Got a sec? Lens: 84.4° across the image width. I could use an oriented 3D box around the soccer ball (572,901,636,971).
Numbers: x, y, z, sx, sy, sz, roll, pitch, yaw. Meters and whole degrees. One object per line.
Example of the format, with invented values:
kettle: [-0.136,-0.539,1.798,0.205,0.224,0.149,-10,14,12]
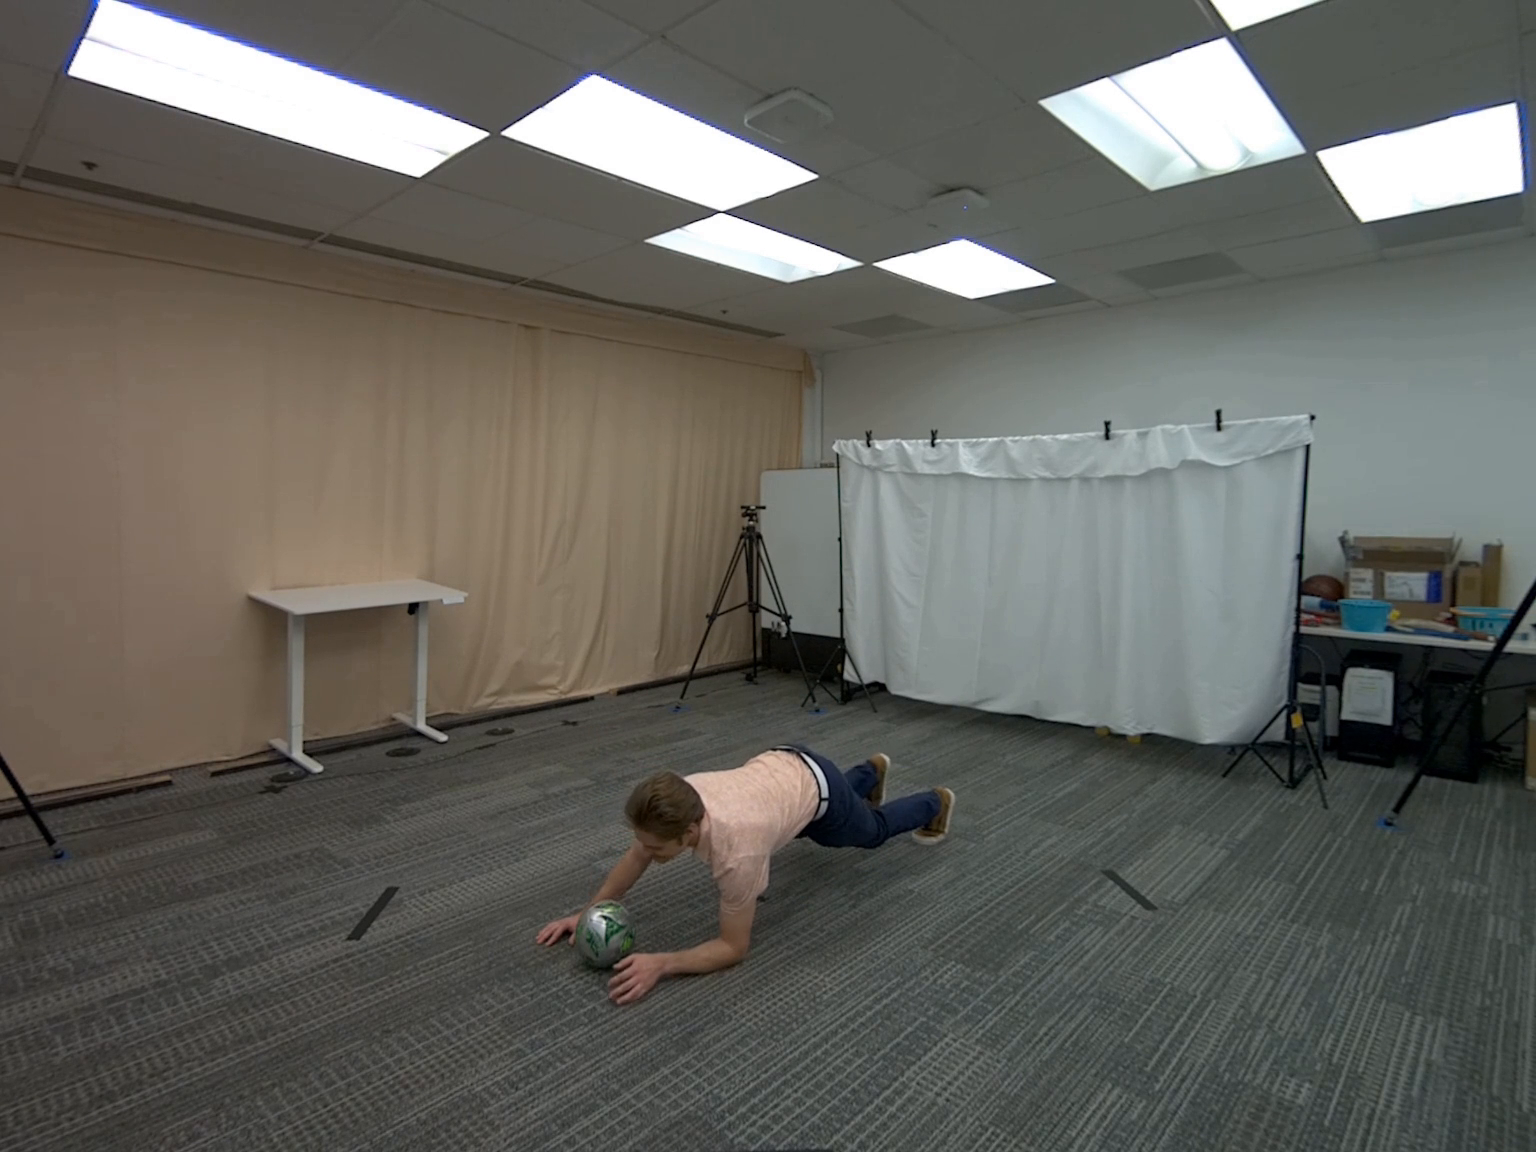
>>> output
soccer ball: [-0.496,1.091,2.558,0.187,0.187,0.188,0,4,-2]
